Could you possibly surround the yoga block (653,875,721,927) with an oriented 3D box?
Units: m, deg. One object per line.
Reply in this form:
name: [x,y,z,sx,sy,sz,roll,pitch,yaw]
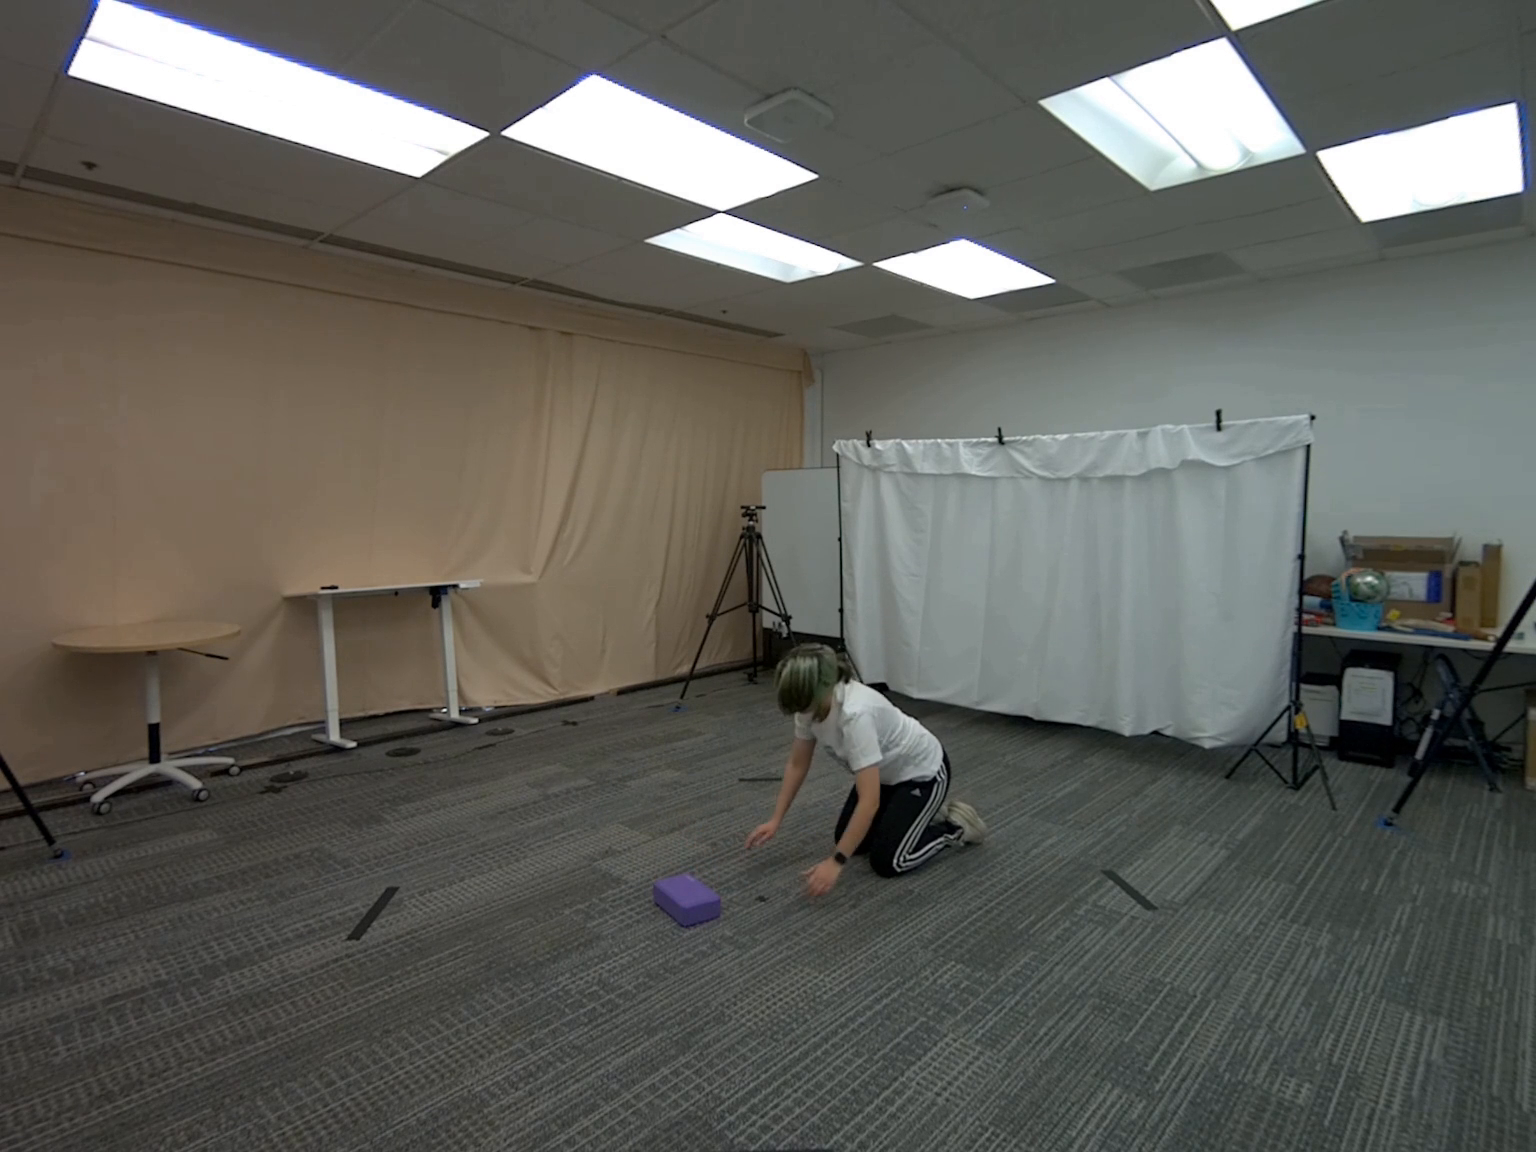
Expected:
yoga block: [-0.281,1.114,2.903,0.145,0.076,0.236,-3,6,-33]
